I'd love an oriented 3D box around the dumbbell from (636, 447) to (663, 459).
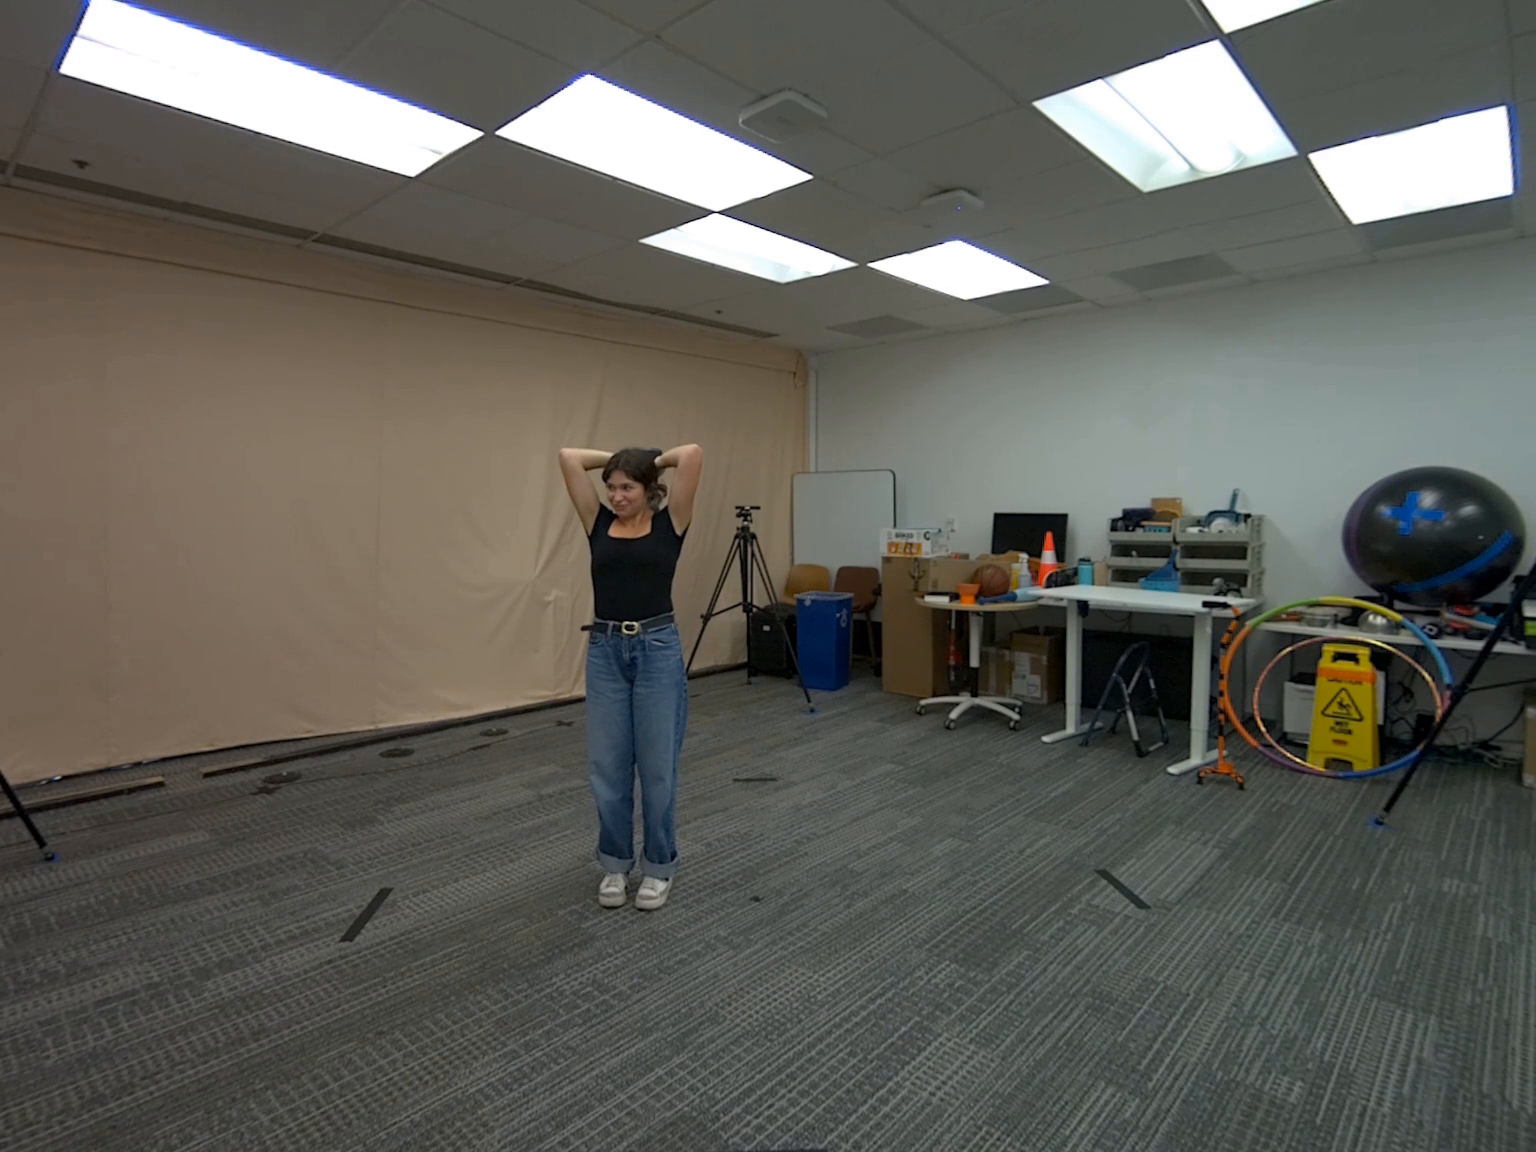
[{"bbox_3d":[-0.469,-0.340,3.164,0.112,0.293,0.119,5,4,42],"label":"dumbbell"}]
